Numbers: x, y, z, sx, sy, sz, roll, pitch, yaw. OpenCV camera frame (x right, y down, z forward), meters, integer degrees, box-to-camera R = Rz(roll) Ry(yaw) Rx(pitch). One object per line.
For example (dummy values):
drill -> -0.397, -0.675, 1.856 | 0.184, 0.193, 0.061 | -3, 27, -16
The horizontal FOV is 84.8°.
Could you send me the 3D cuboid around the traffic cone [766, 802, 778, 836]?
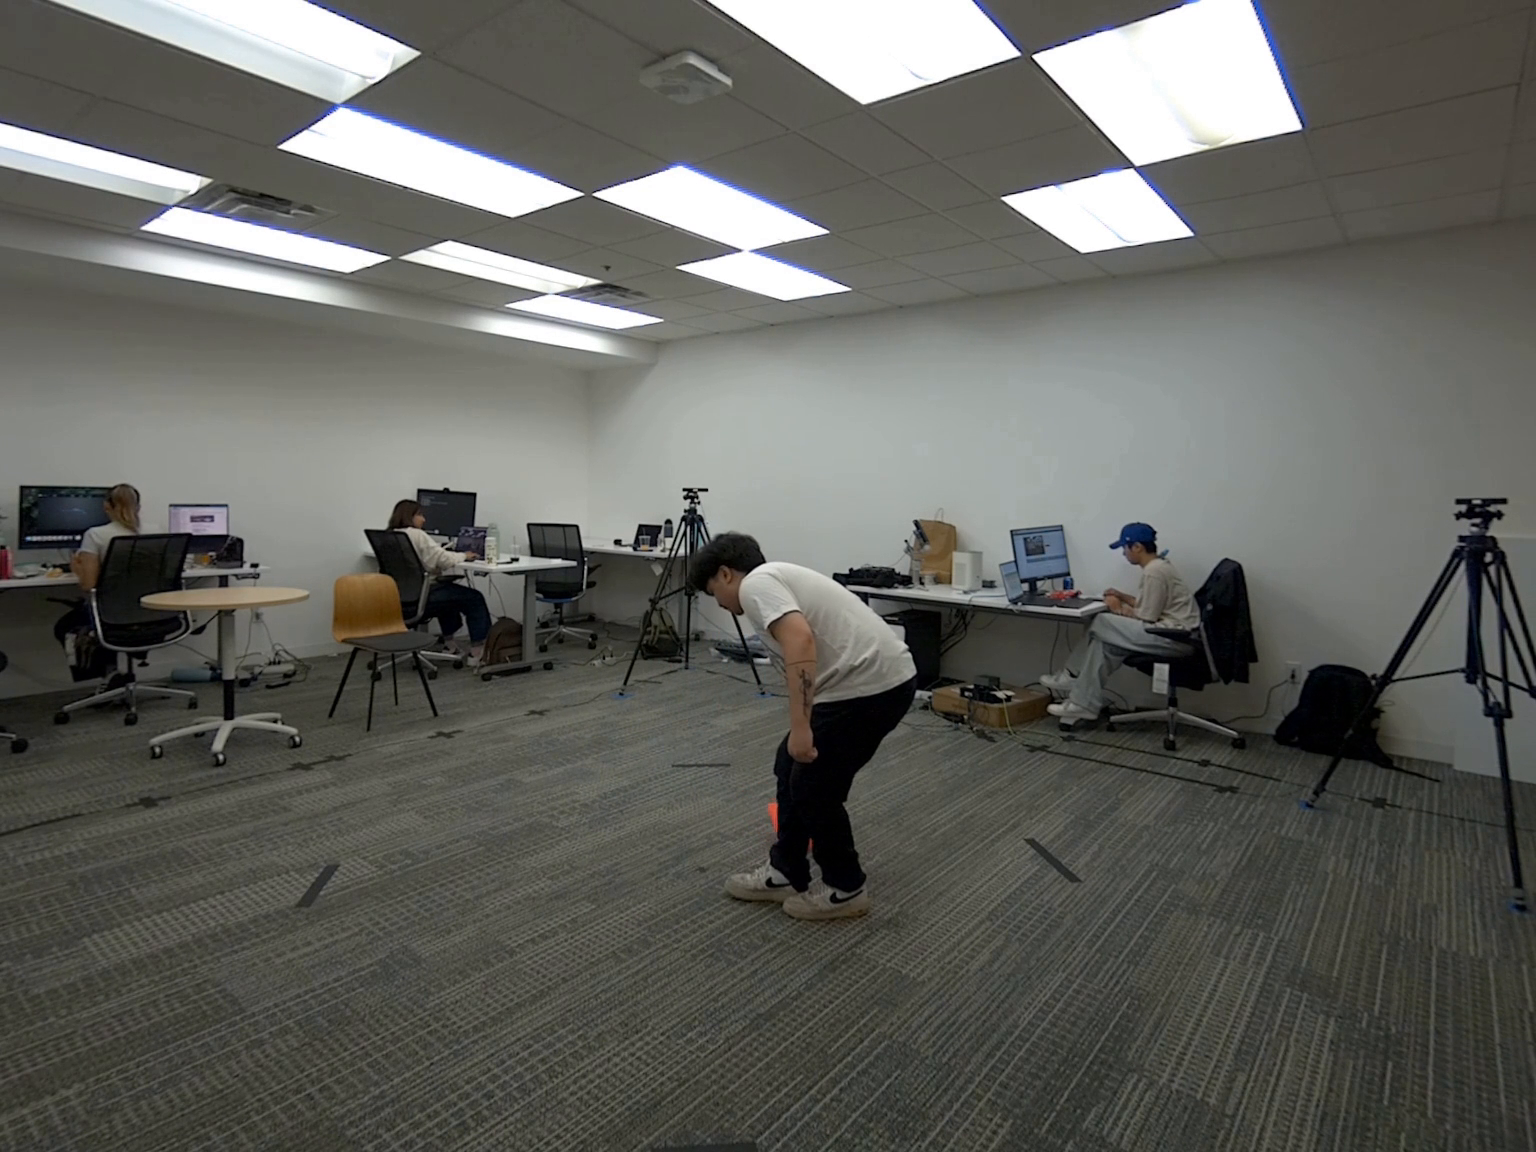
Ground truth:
traffic cone -> 0.166, 0.858, 3.232 | 0.201, 0.210, 0.378 | -16, -32, -31
